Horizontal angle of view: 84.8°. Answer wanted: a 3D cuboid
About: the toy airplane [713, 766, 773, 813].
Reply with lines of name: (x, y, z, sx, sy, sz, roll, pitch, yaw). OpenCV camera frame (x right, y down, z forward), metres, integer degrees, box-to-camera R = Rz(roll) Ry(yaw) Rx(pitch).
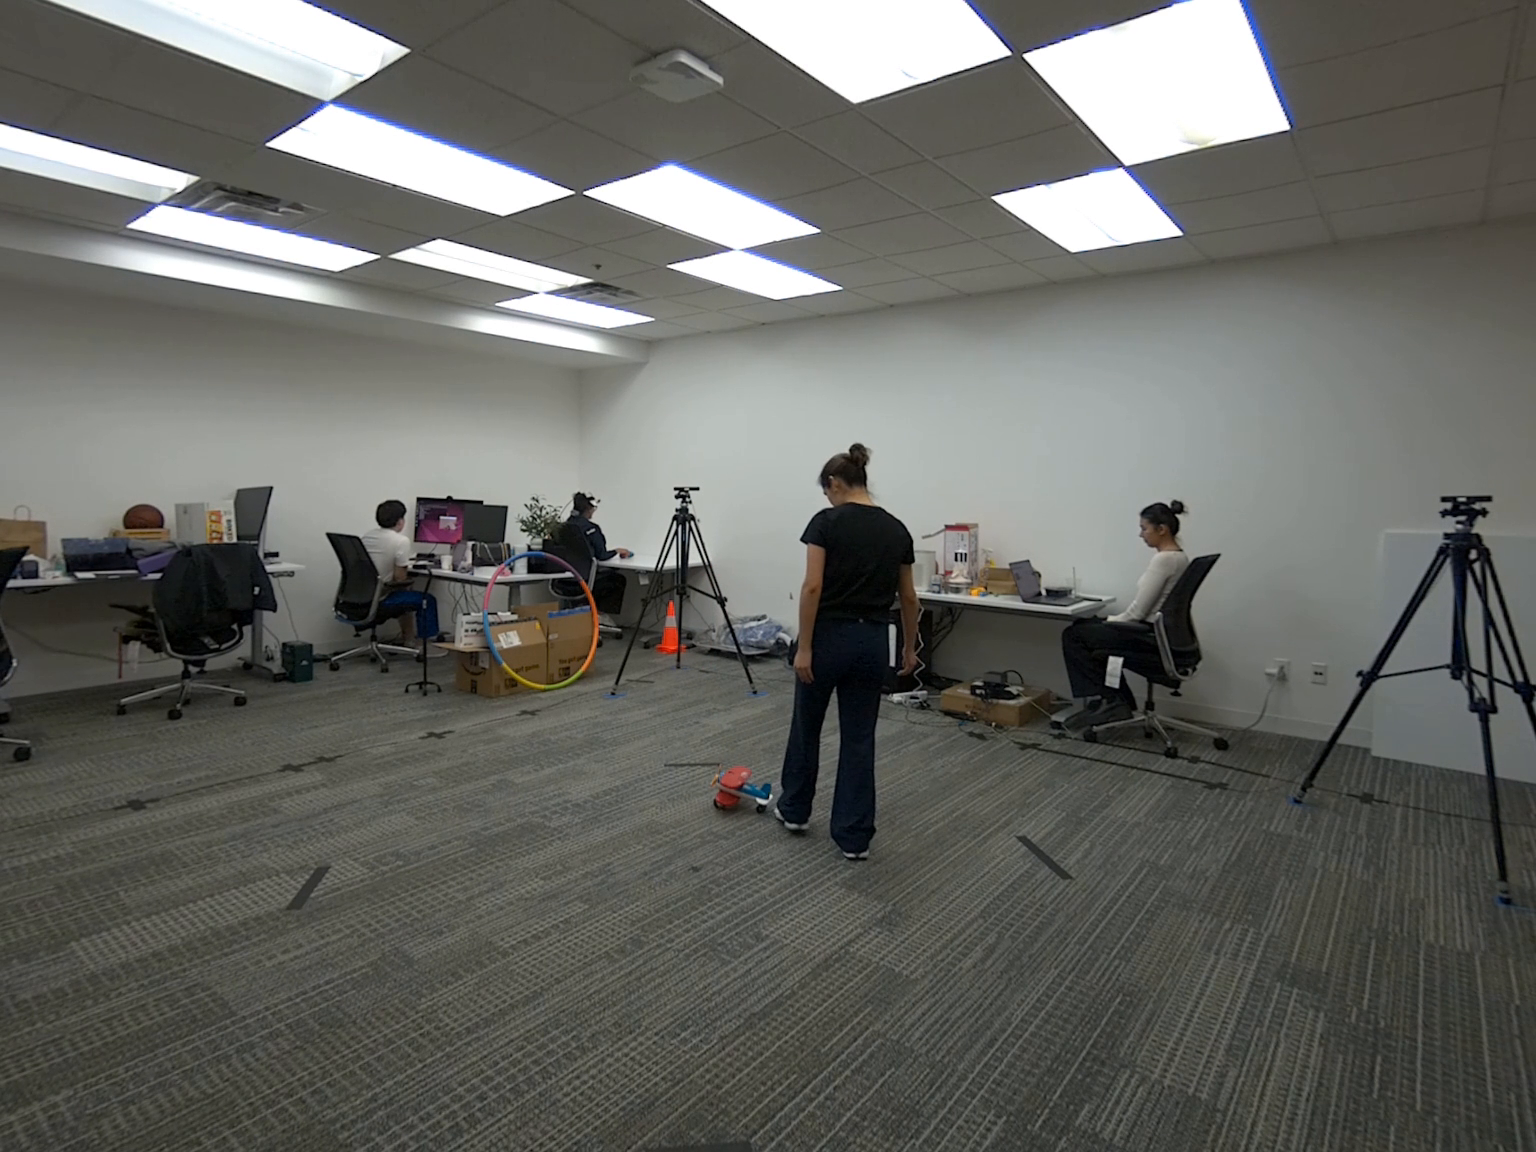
toy airplane: (-0.090, 0.930, 3.734, 0.257, 0.156, 0.254, -1, 4, -8)
